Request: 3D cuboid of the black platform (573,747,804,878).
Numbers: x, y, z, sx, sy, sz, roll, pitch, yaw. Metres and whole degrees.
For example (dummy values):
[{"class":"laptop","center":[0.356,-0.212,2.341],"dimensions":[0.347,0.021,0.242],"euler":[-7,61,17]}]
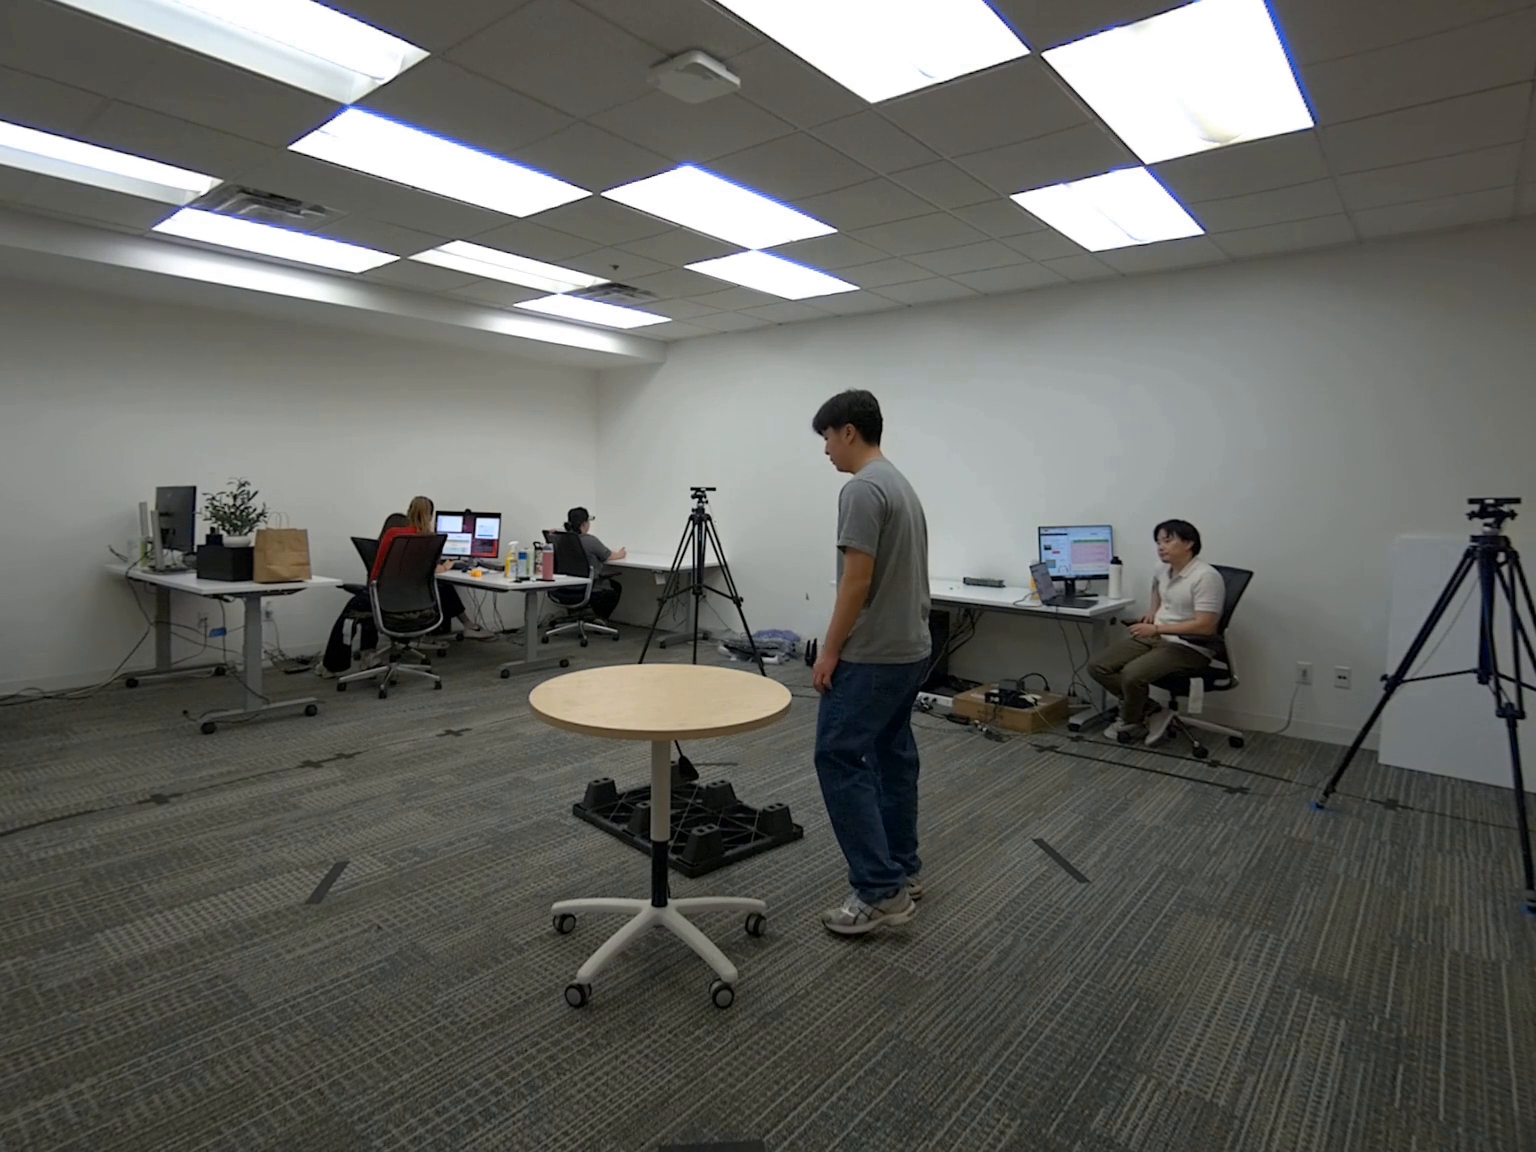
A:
[{"class":"black platform","center":[-0.358,0.959,3.505],"dimensions":[0.587,0.143,0.833],"euler":[-4,7,-44]}]
